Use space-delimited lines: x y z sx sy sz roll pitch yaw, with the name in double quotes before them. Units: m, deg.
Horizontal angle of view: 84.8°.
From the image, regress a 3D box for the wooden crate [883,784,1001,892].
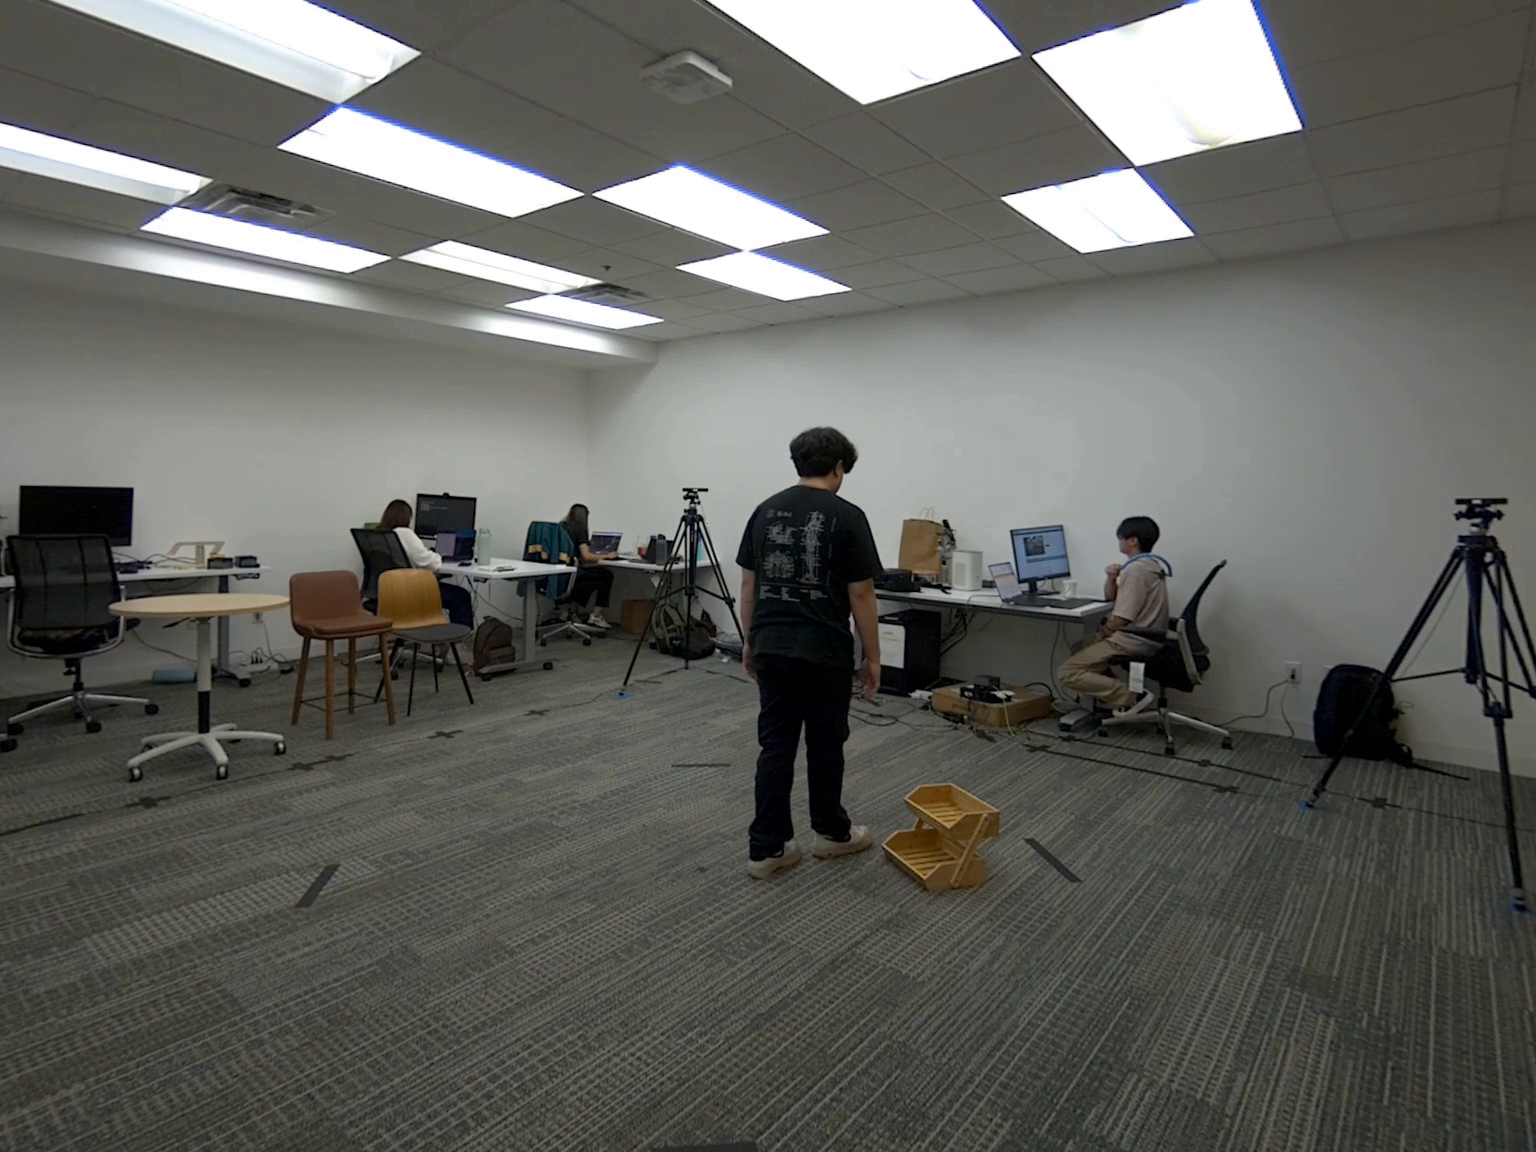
"wooden crate" 0.624 0.948 3.155 0.296 0.272 0.332 1 5 -21
